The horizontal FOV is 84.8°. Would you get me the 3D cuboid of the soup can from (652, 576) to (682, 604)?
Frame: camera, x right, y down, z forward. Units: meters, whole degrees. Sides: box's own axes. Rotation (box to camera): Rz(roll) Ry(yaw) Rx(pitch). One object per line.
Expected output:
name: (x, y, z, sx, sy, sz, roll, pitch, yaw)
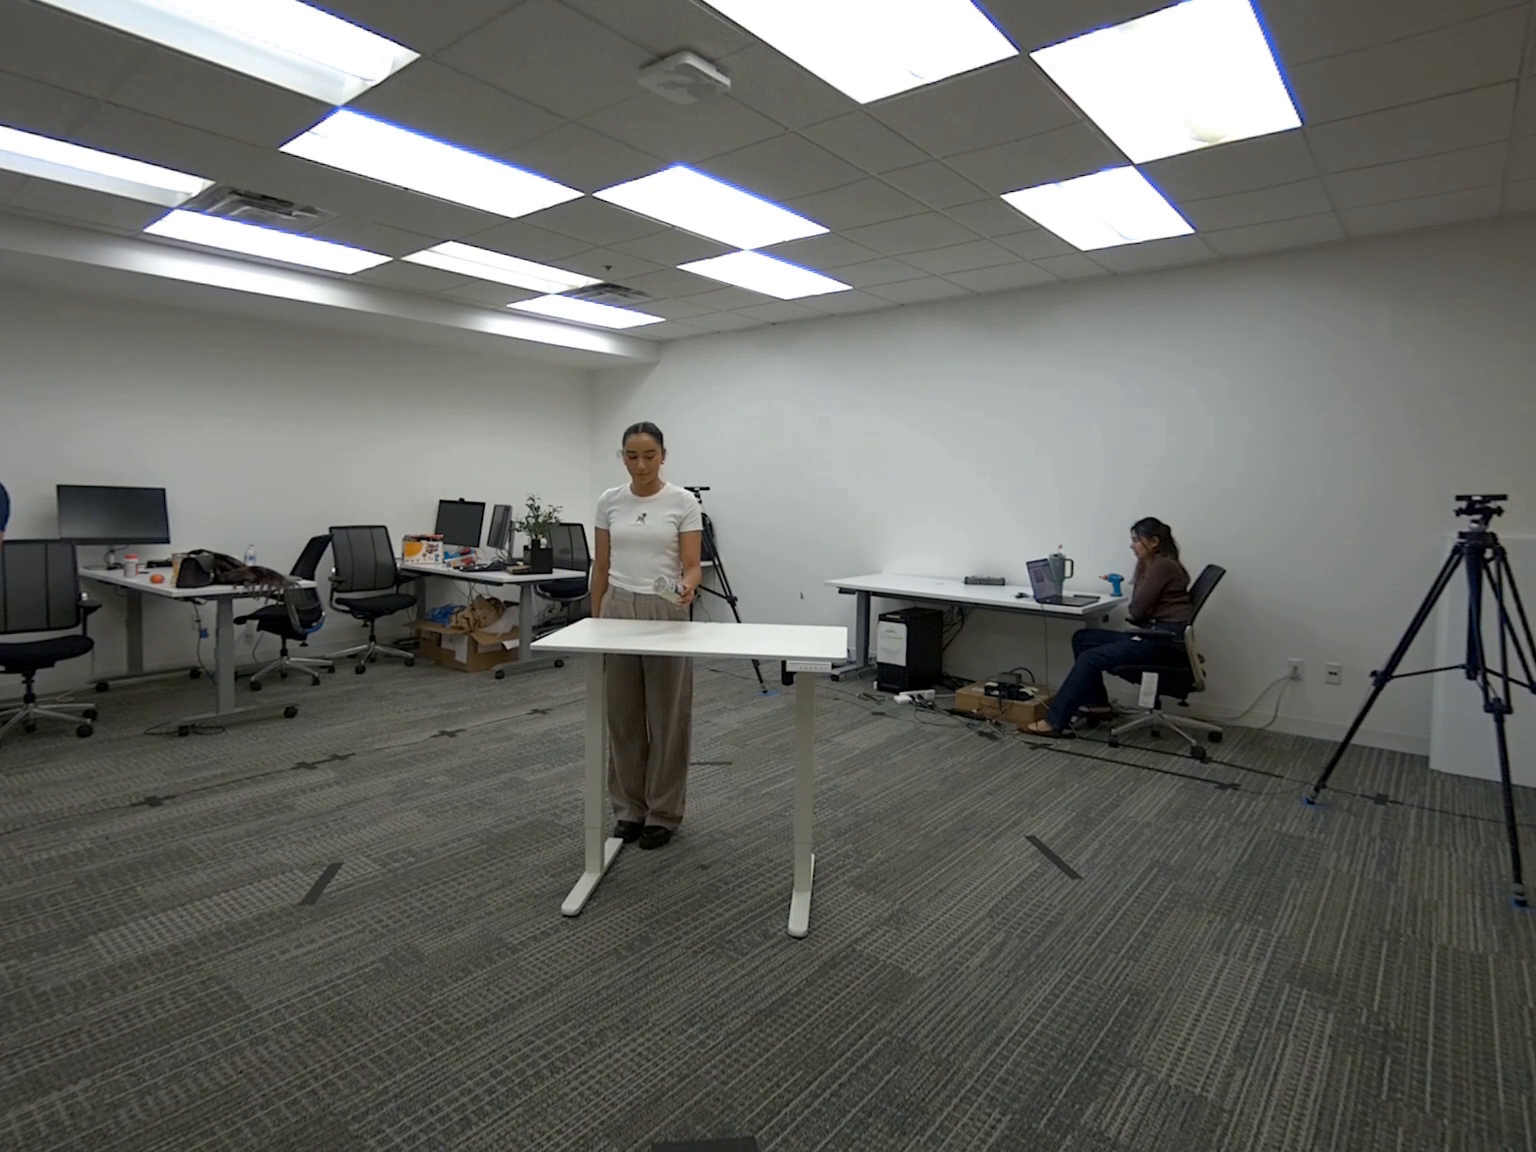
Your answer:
soup can: (-0.355, 0.046, 2.936, 0.069, 0.068, 0.116, 4, -21, 43)
